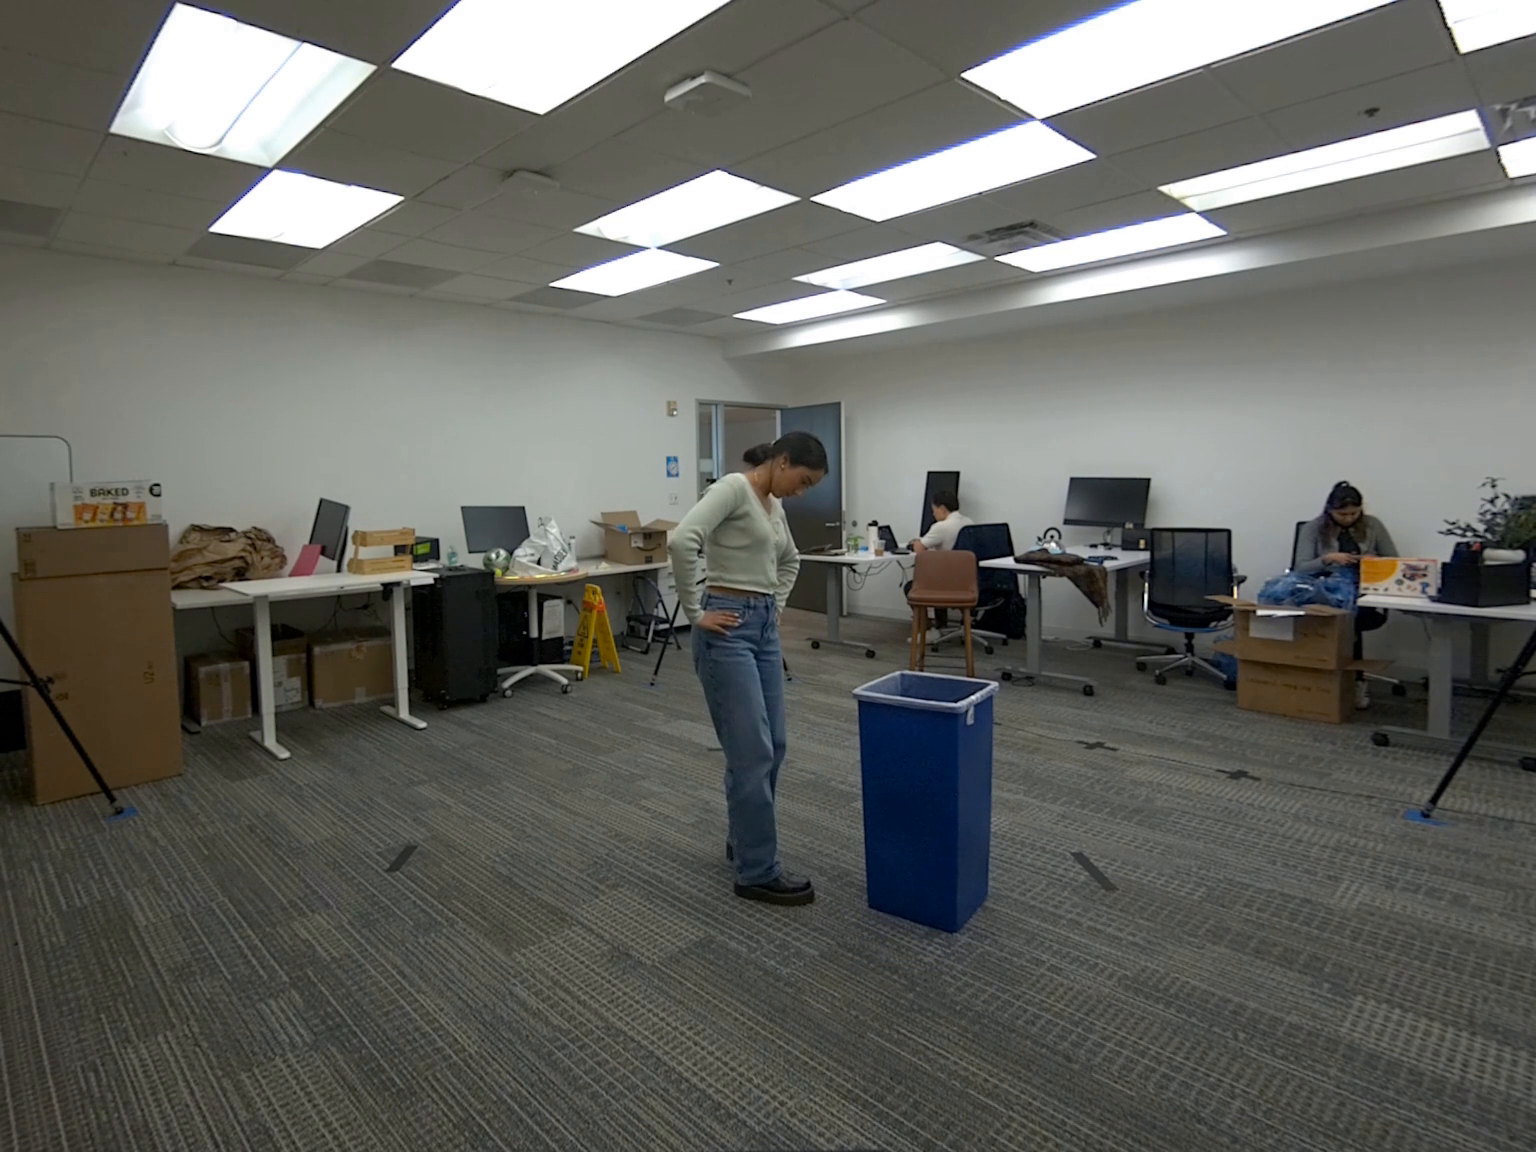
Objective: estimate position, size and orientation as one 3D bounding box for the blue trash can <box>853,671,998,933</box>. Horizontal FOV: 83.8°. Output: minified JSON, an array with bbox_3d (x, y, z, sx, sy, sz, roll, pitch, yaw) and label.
[{"bbox_3d":[0.525,0.715,2.786,0.389,0.711,0.365,2,5,35],"label":"blue trash can"}]
